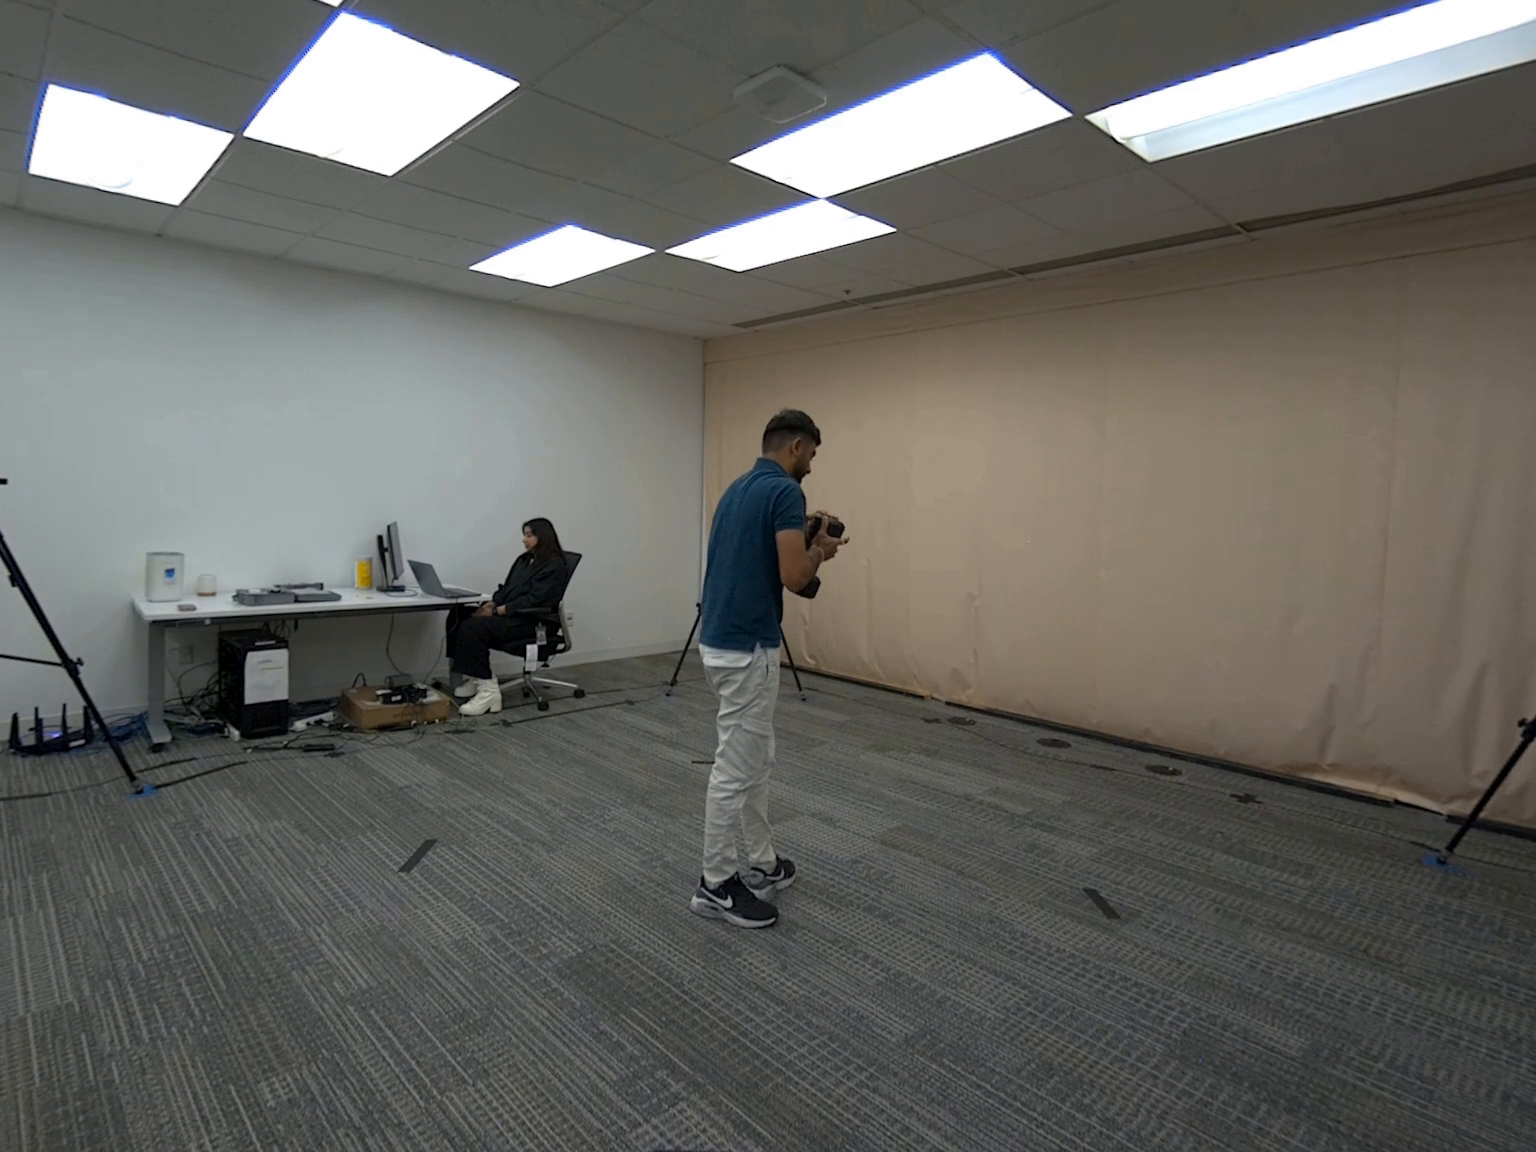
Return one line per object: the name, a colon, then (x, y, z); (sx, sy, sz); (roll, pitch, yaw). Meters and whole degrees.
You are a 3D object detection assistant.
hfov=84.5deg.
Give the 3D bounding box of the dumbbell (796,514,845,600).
dumbbell: (0.152, -0.066, 2.965); (0.120, 0.293, 0.111); (18, 6, -24)
